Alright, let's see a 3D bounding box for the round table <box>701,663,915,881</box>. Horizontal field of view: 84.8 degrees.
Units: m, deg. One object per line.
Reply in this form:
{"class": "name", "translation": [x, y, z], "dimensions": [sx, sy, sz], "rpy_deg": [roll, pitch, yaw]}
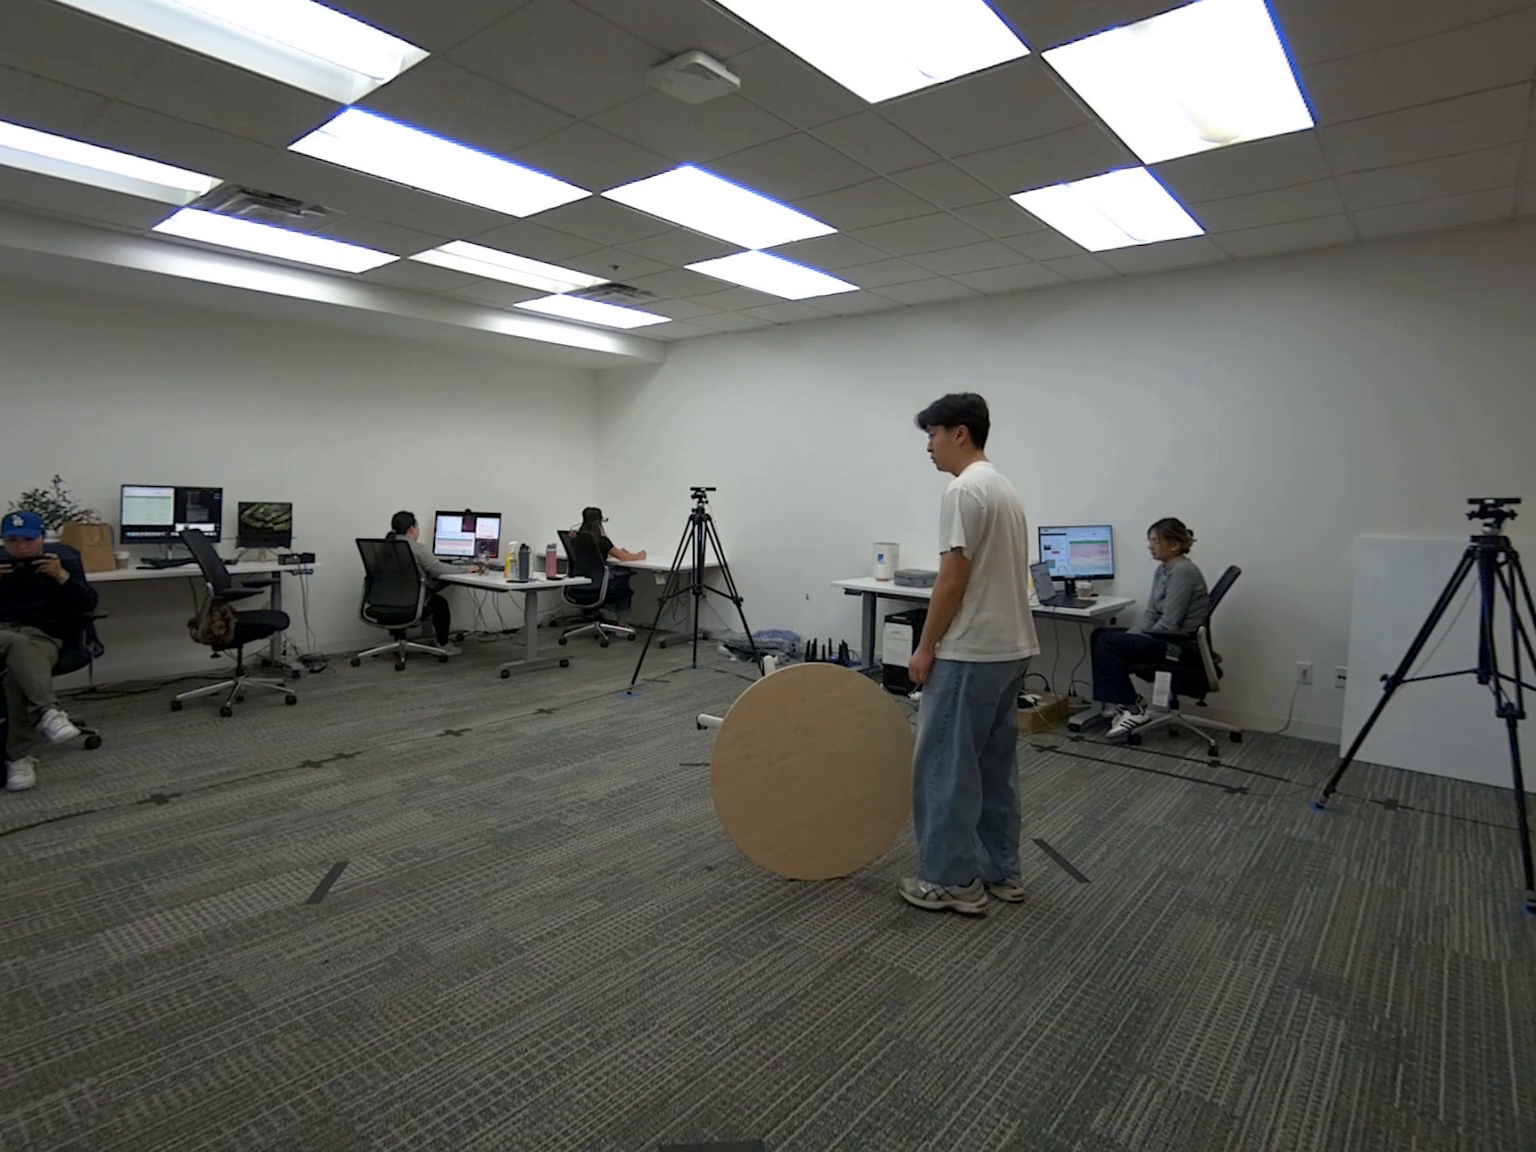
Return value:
{"class": "round table", "translation": [0.079, 0.693, 3.442], "dimensions": [0.776, 0.787, 0.794], "rpy_deg": [0, -1, -11]}
